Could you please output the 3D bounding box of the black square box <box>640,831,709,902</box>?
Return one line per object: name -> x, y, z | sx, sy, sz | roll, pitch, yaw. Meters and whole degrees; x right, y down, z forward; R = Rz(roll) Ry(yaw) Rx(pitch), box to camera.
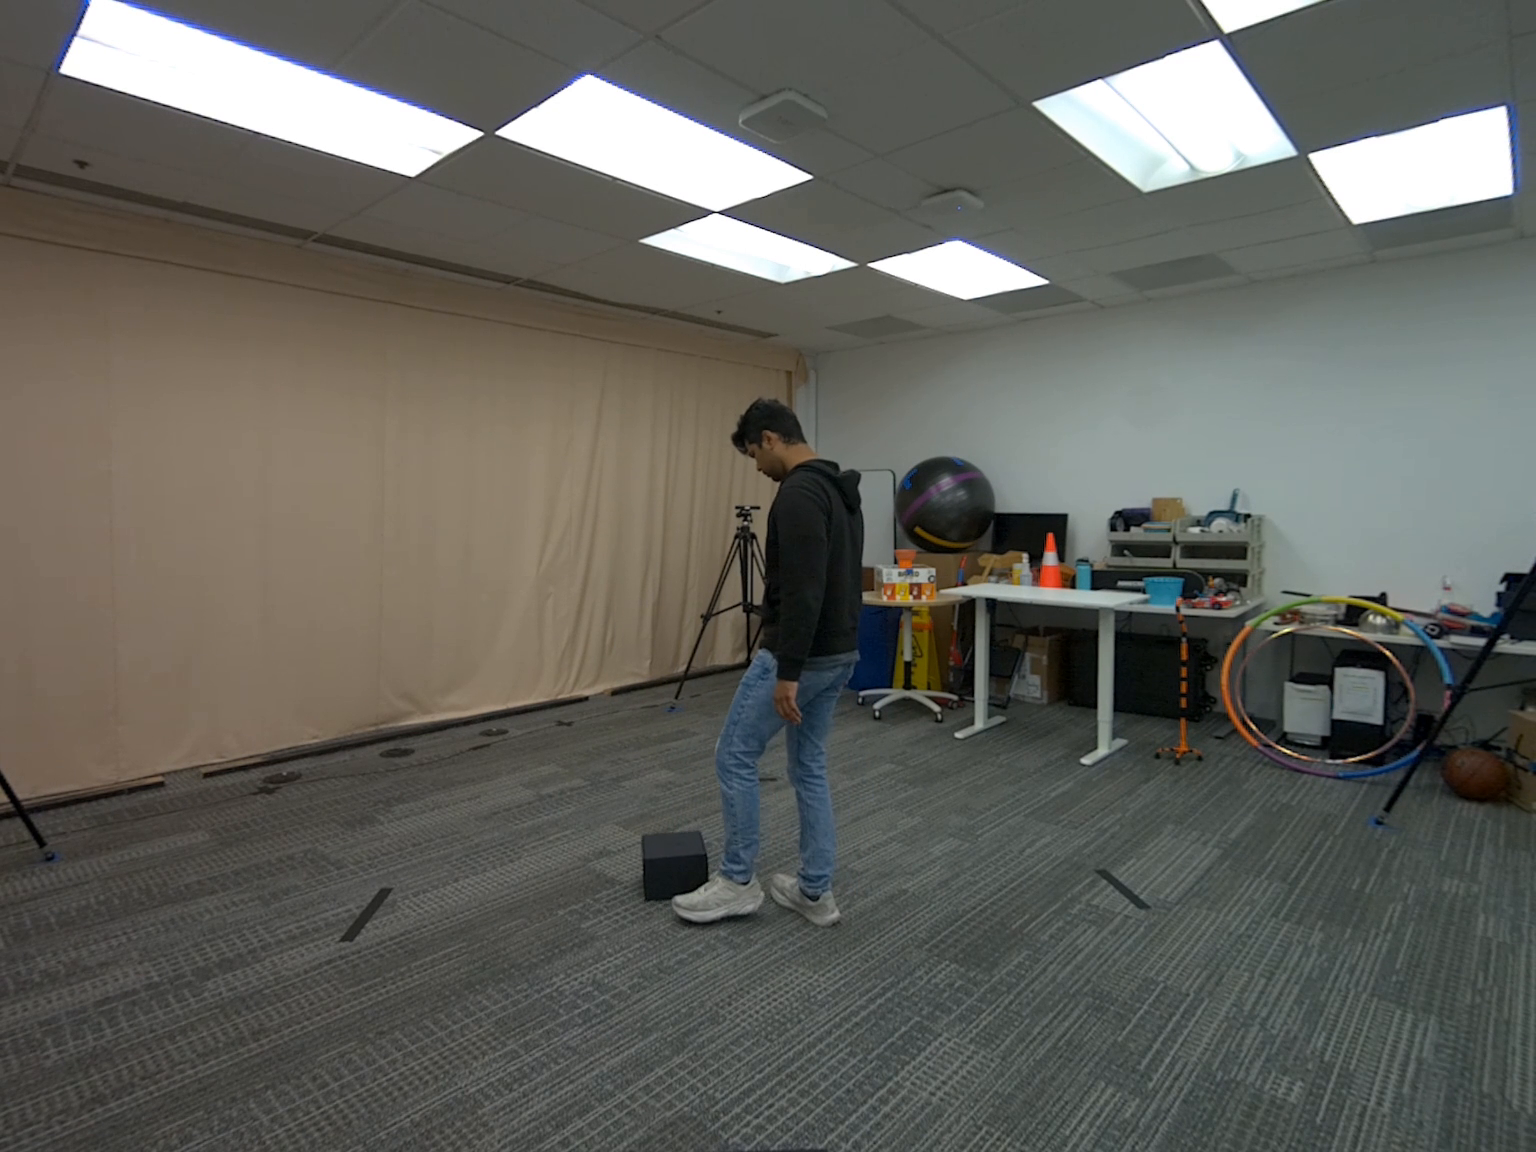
black square box -> -0.337, 1.053, 3.068 | 0.226, 0.155, 0.220 | -1, 5, -10
